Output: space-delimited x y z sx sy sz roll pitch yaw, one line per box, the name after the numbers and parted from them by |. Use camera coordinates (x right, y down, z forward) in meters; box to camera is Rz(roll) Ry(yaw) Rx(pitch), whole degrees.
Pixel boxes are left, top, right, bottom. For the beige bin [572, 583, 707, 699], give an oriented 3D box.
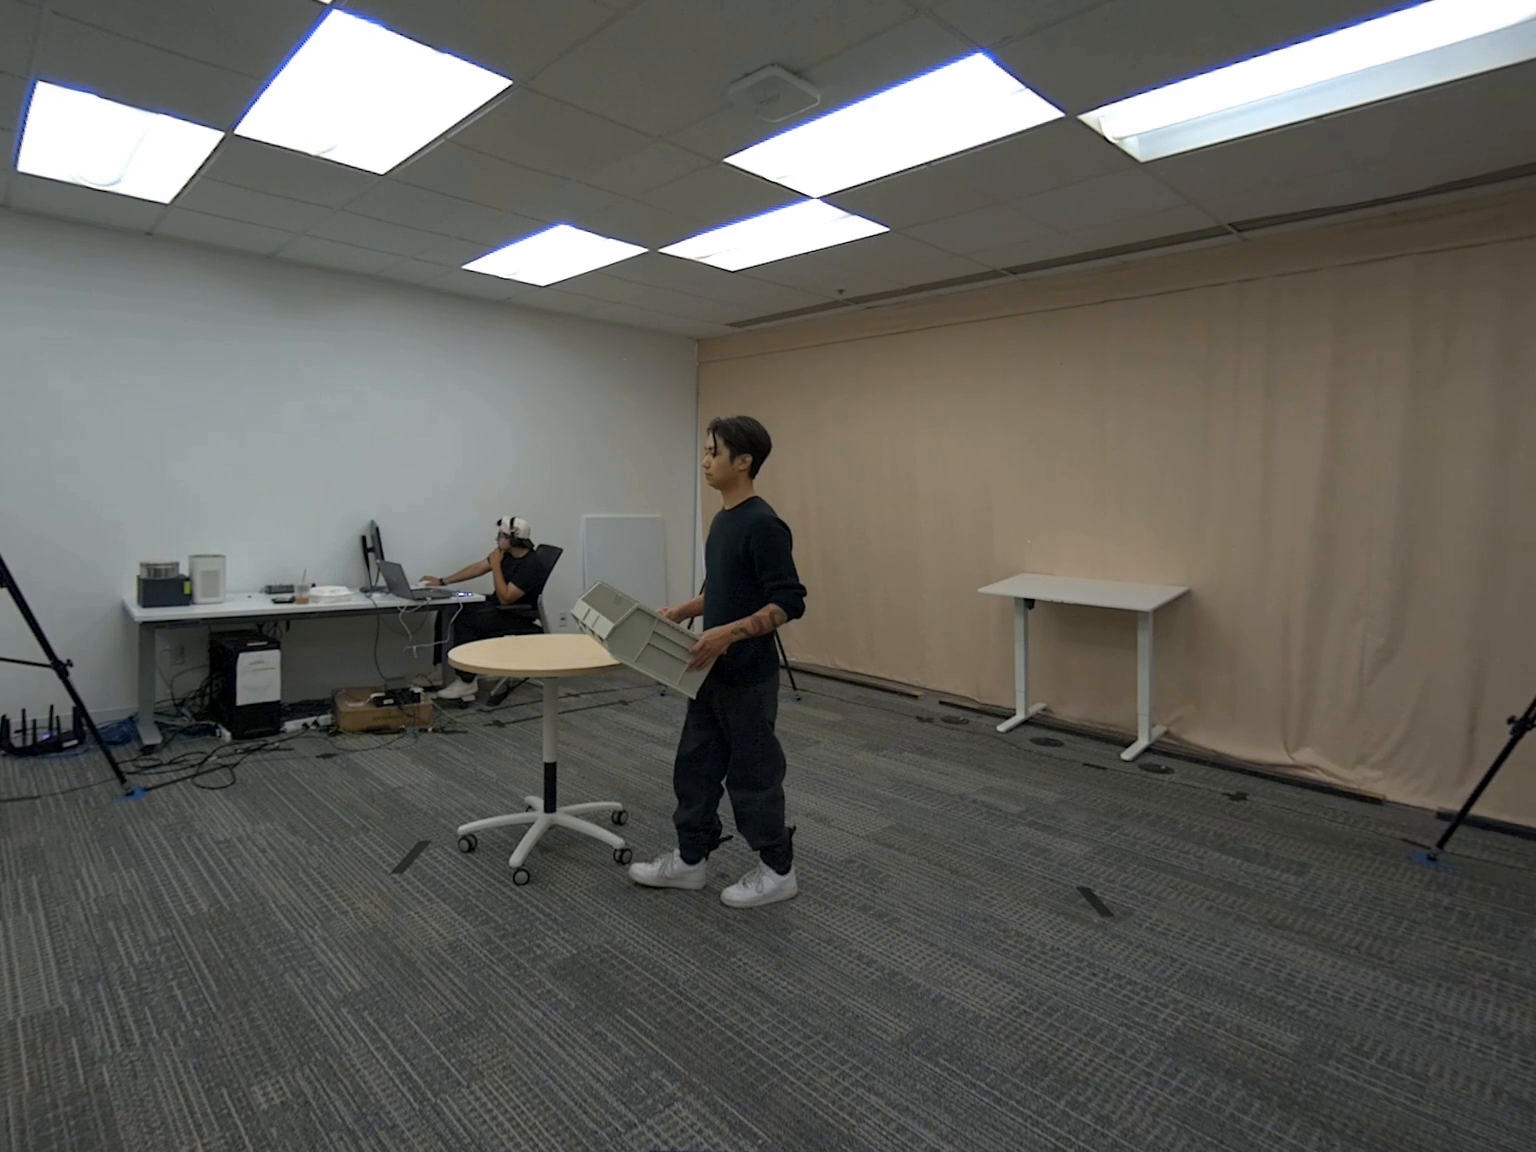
-0.419 0.194 2.748 0.368 0.189 0.433 33 -7 -28 | beige bin
